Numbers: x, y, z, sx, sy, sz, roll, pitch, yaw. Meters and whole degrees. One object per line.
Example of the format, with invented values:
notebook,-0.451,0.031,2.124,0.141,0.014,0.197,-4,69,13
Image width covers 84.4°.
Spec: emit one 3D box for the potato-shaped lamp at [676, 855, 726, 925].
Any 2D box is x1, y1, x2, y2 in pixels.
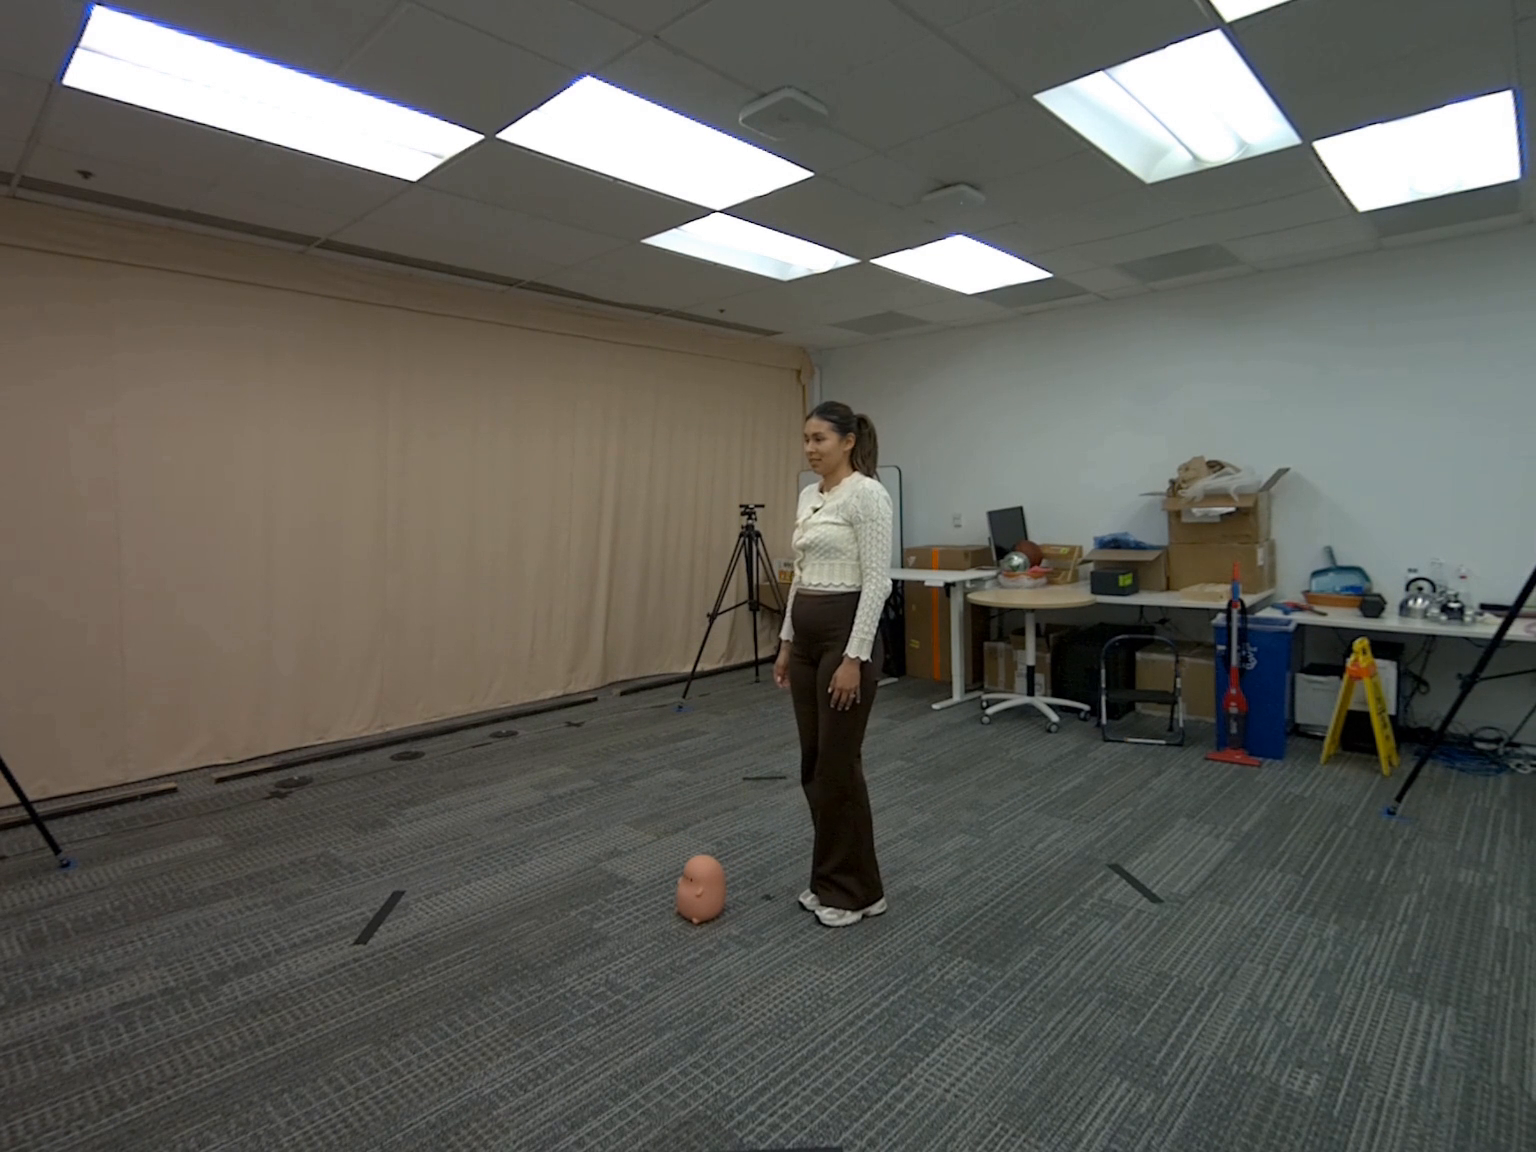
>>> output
potato-shaped lamp,-0.224,1.057,2.865,0.166,0.197,0.170,-3,5,-33
